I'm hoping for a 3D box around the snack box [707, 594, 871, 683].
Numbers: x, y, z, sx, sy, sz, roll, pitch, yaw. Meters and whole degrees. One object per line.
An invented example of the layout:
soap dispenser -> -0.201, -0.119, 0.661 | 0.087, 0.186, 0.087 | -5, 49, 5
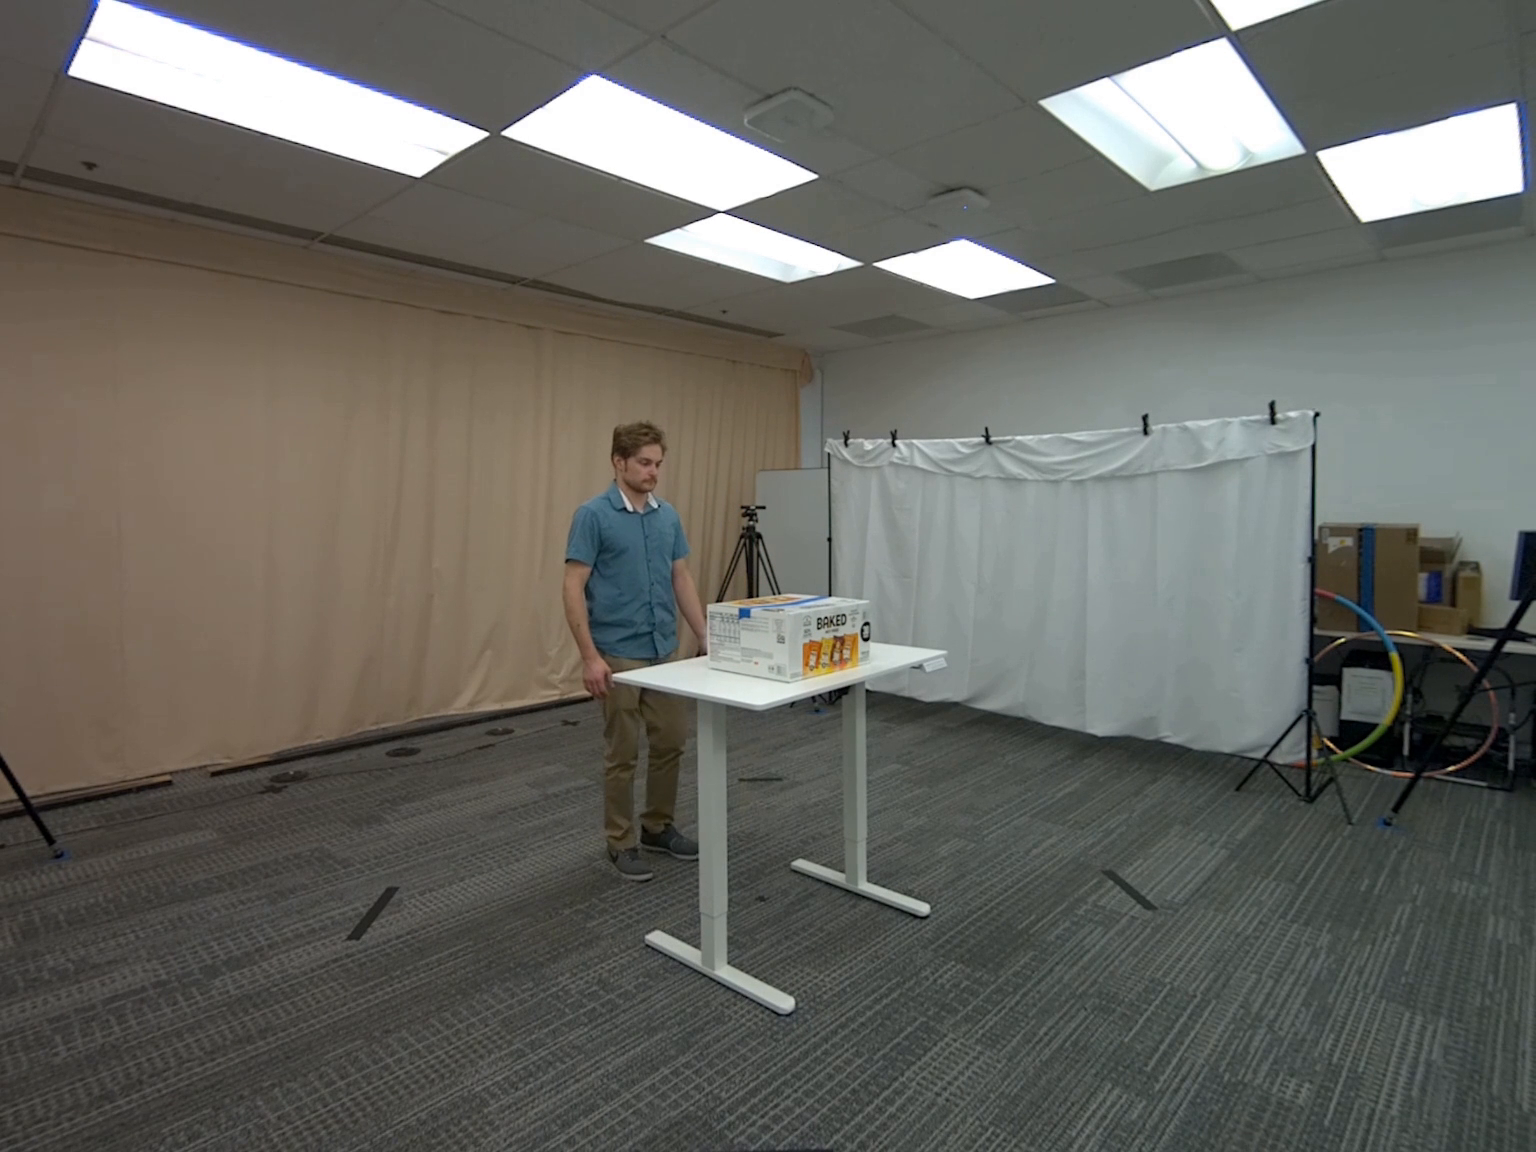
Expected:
snack box -> 0.072, 0.186, 2.666 | 0.351, 0.205, 0.393 | 3, 6, 43
